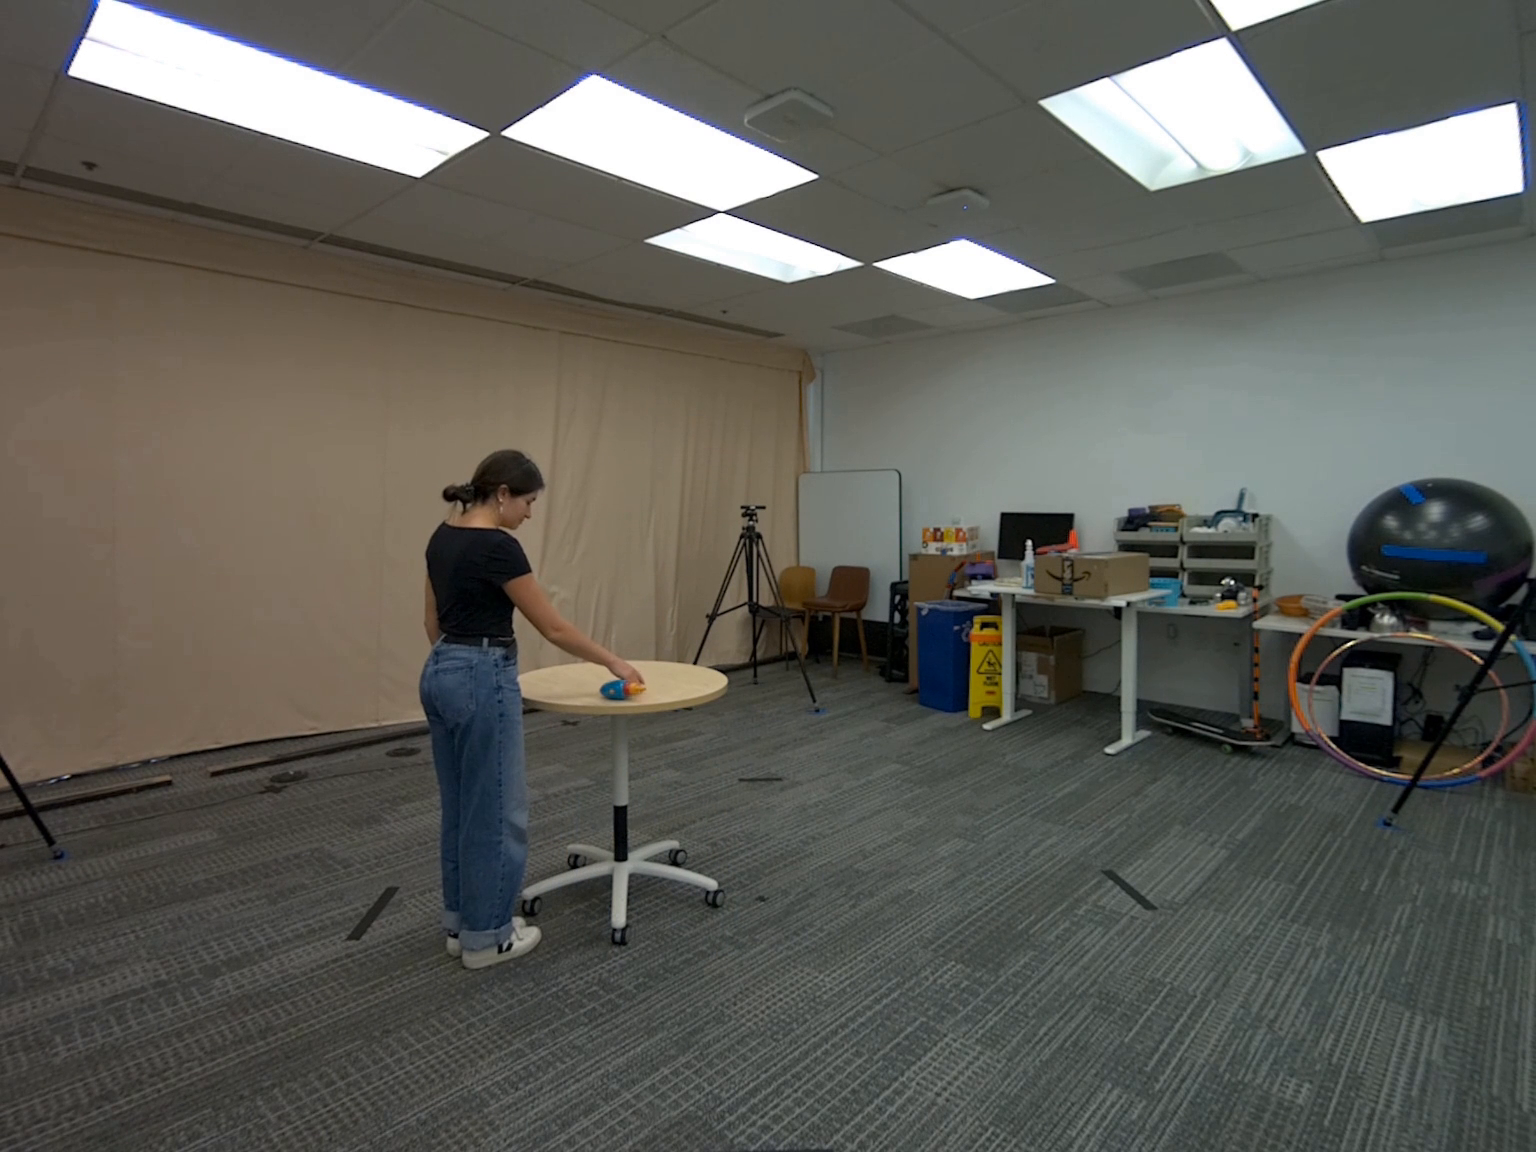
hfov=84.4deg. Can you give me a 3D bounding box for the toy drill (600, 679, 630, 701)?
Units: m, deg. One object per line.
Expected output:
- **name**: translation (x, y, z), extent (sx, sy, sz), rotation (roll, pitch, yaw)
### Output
- **toy drill**: translation (-0.434, 0.364, 2.685), extent (0.173, 0.061, 0.142), rotation (-9, -3, 25)
